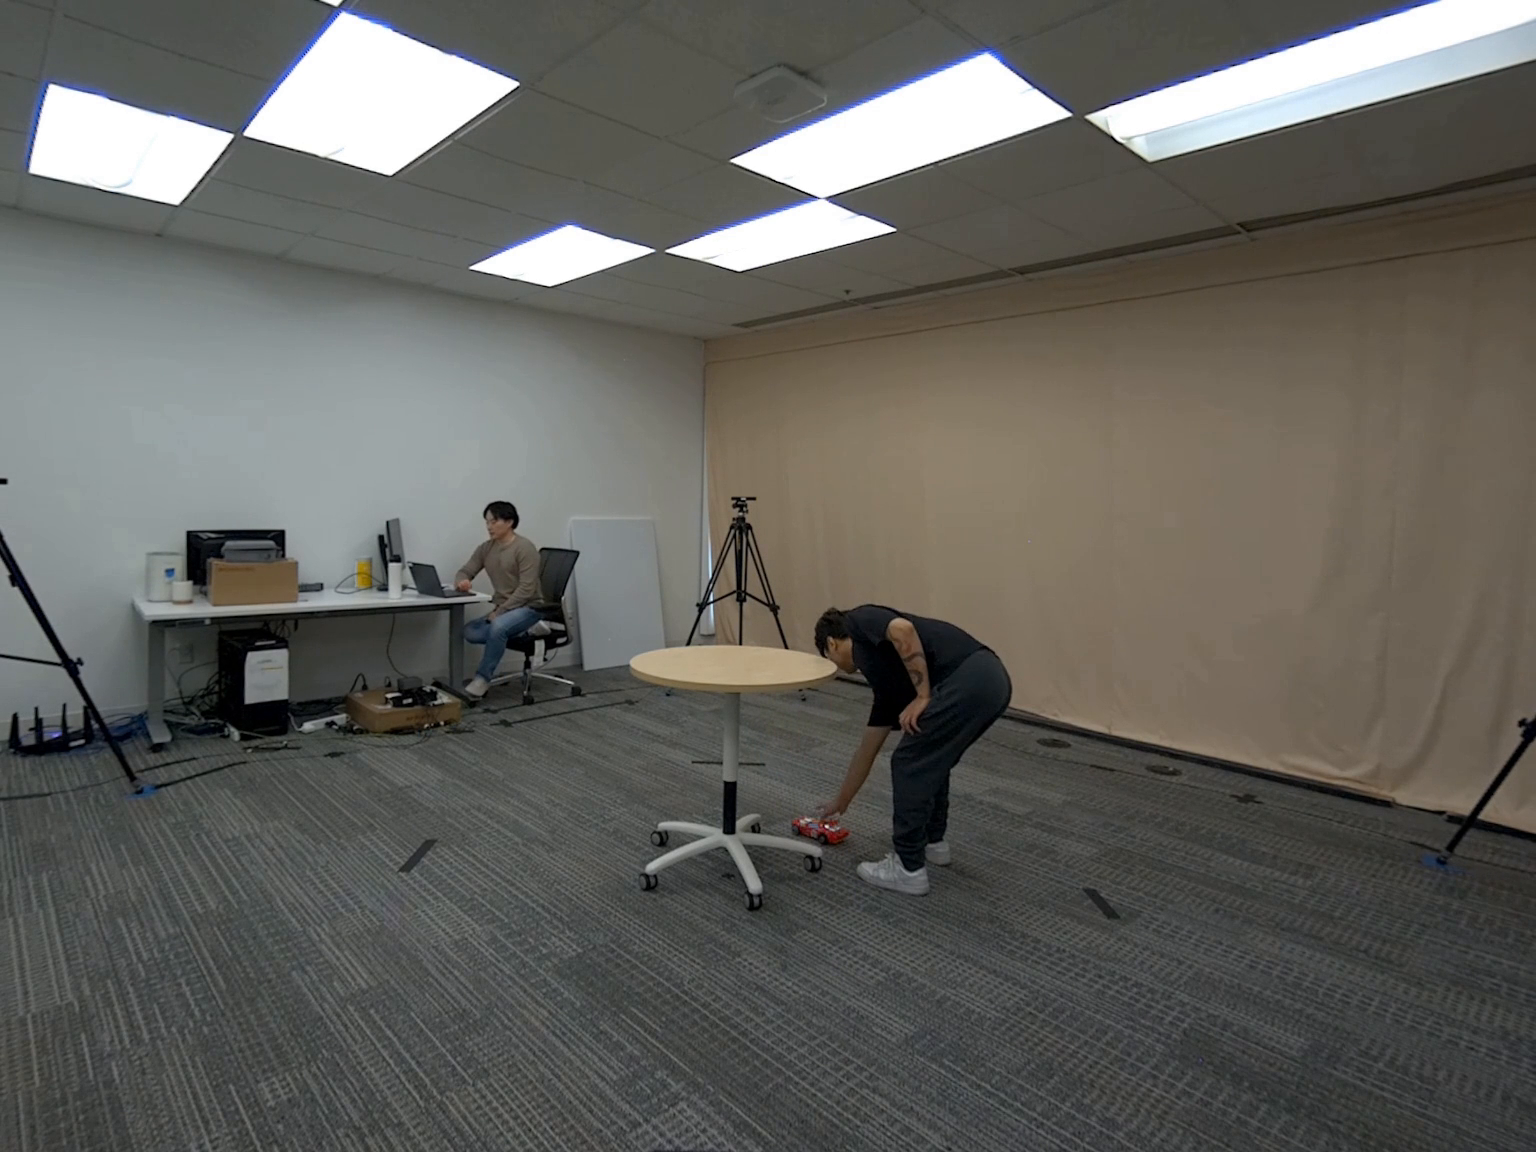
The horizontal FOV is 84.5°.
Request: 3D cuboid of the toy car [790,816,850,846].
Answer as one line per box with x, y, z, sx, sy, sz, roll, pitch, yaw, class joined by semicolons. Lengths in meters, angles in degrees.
0.216;1.053;3.476;0.259;0.083;0.127;-9;-5;43;toy car
